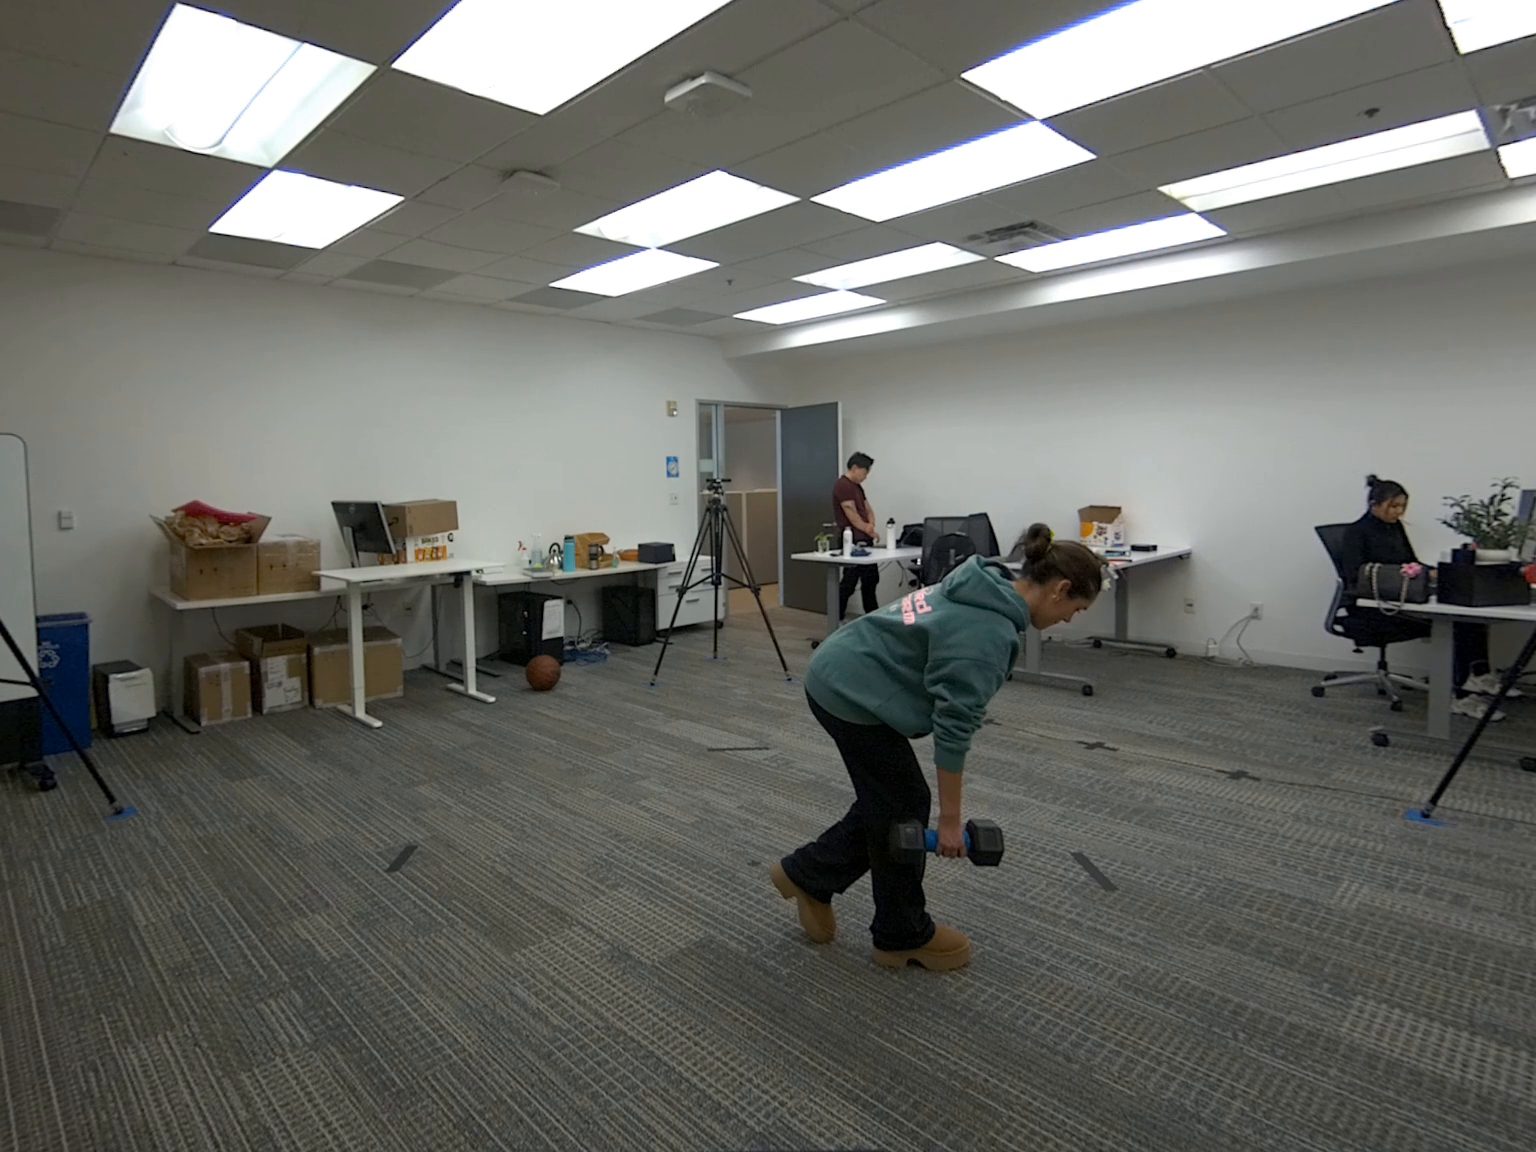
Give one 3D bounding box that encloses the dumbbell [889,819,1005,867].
[{"bbox_3d":[0.484,0.711,2.295,0.293,0.120,0.111,1,31,-2],"label":"dumbbell"}]
